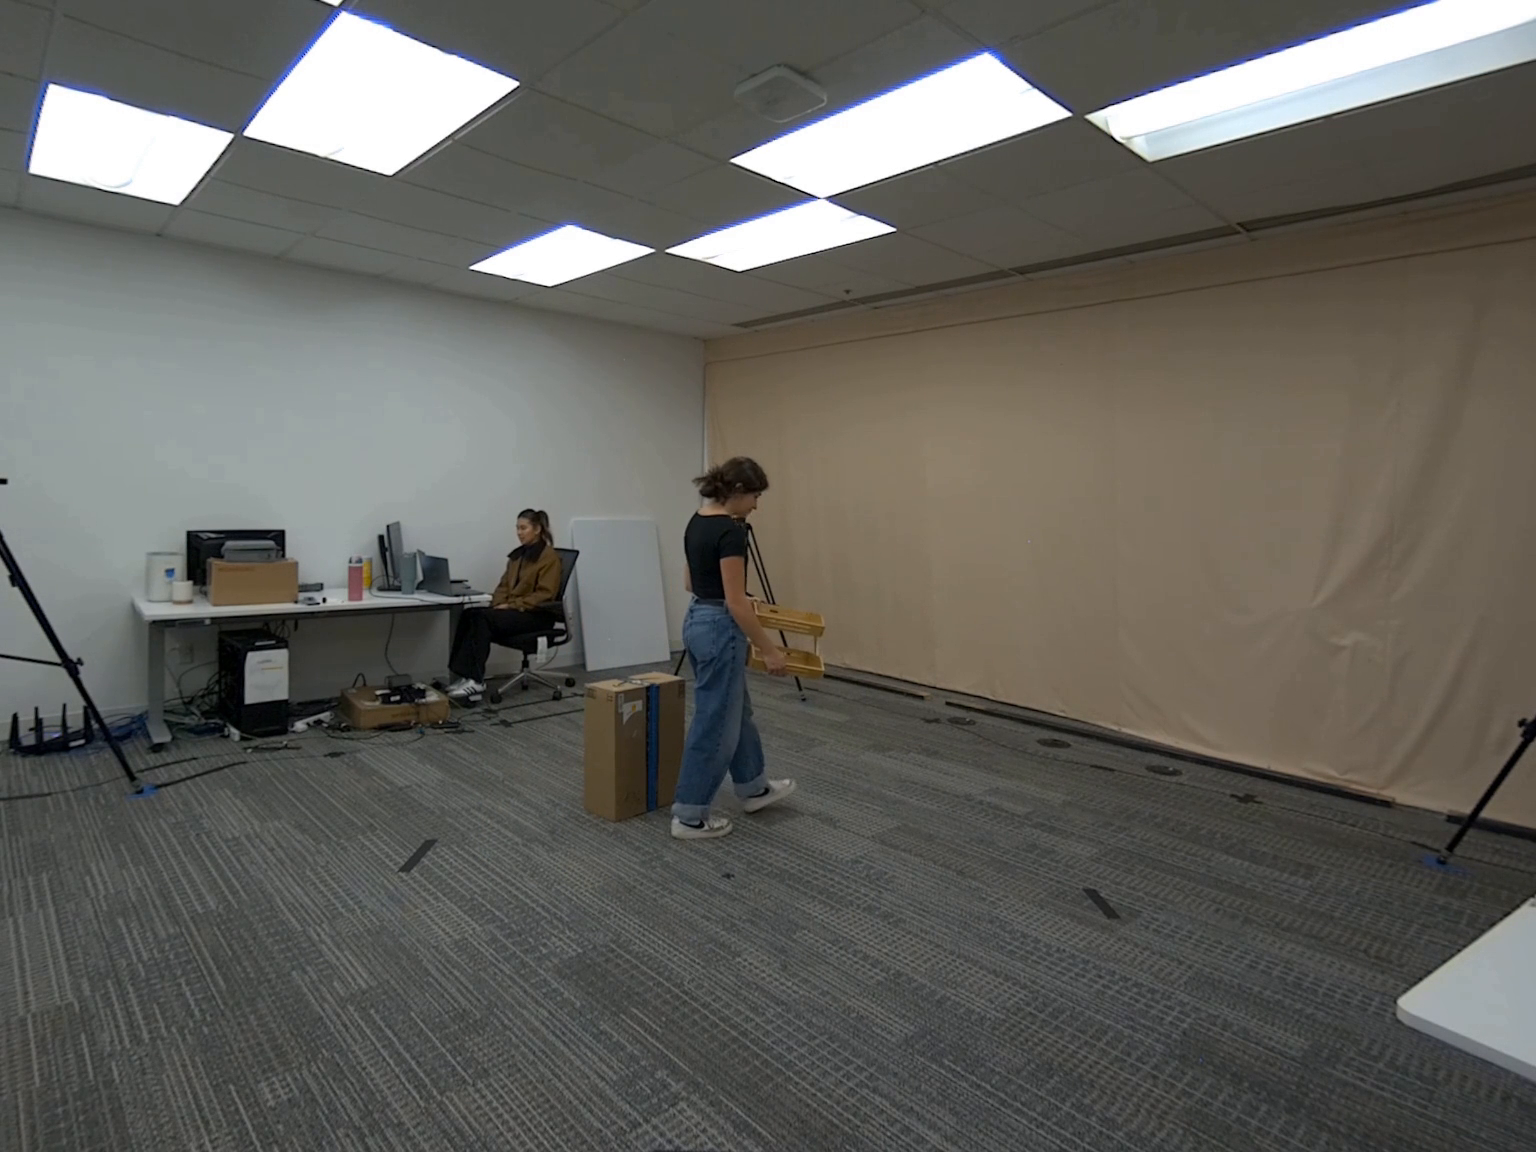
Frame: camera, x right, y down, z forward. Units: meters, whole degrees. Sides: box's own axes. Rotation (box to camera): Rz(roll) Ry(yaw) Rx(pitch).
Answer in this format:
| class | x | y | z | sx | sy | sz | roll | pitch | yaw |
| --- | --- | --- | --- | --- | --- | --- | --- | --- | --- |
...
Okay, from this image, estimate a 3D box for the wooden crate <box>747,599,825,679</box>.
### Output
| class | x | y | z | sx | sy | sz | roll | pitch | yaw |
| --- | --- | --- | --- | --- | --- | --- | --- | --- | --- |
| wooden crate | 0.062 | 0.261 | 3.499 | 0.321 | 0.273 | 0.305 | 11 | -1 | -13 |
